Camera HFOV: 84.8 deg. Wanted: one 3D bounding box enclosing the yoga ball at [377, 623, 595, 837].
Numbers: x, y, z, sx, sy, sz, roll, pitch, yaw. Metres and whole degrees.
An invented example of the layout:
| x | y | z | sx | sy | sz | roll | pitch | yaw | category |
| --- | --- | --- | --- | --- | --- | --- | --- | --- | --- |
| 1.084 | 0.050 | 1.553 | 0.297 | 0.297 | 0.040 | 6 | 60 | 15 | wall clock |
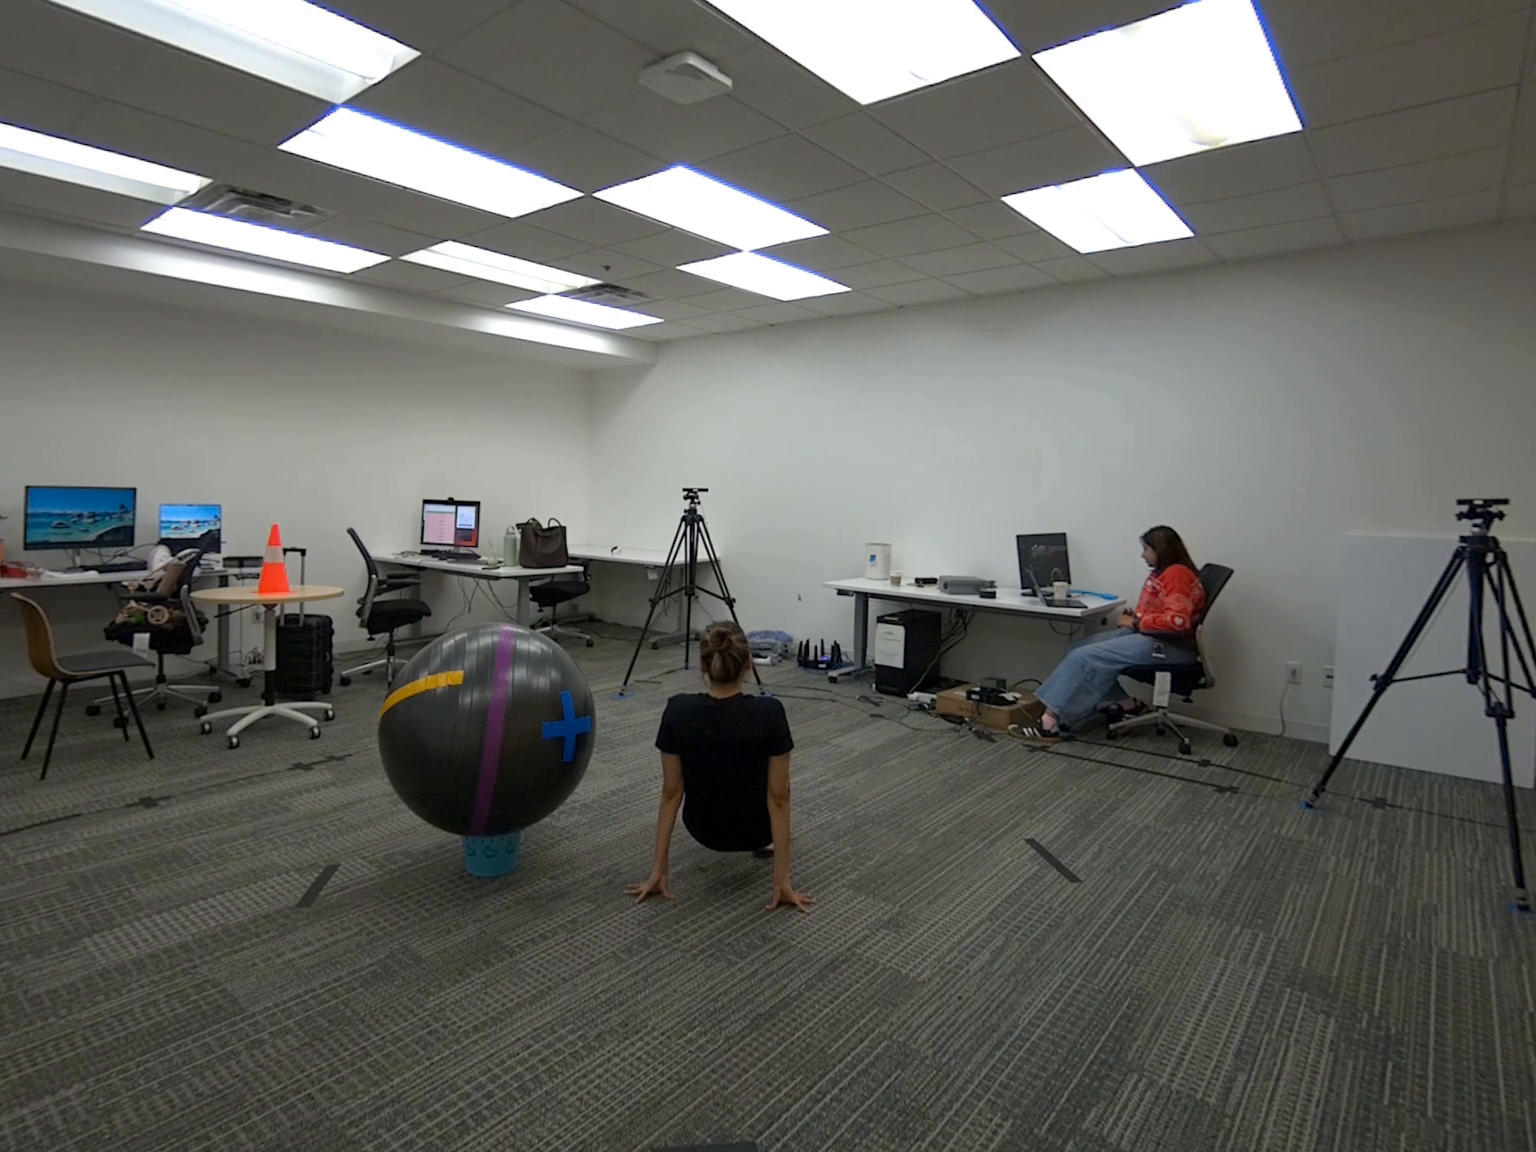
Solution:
| x | y | z | sx | sy | sz | roll | pitch | yaw | category |
| --- | --- | --- | --- | --- | --- | --- | --- | --- | --- |
| -1.020 | 0.556 | 3.079 | 0.757 | 0.756 | 0.762 | 1 | 4 | -2 | yoga ball |
